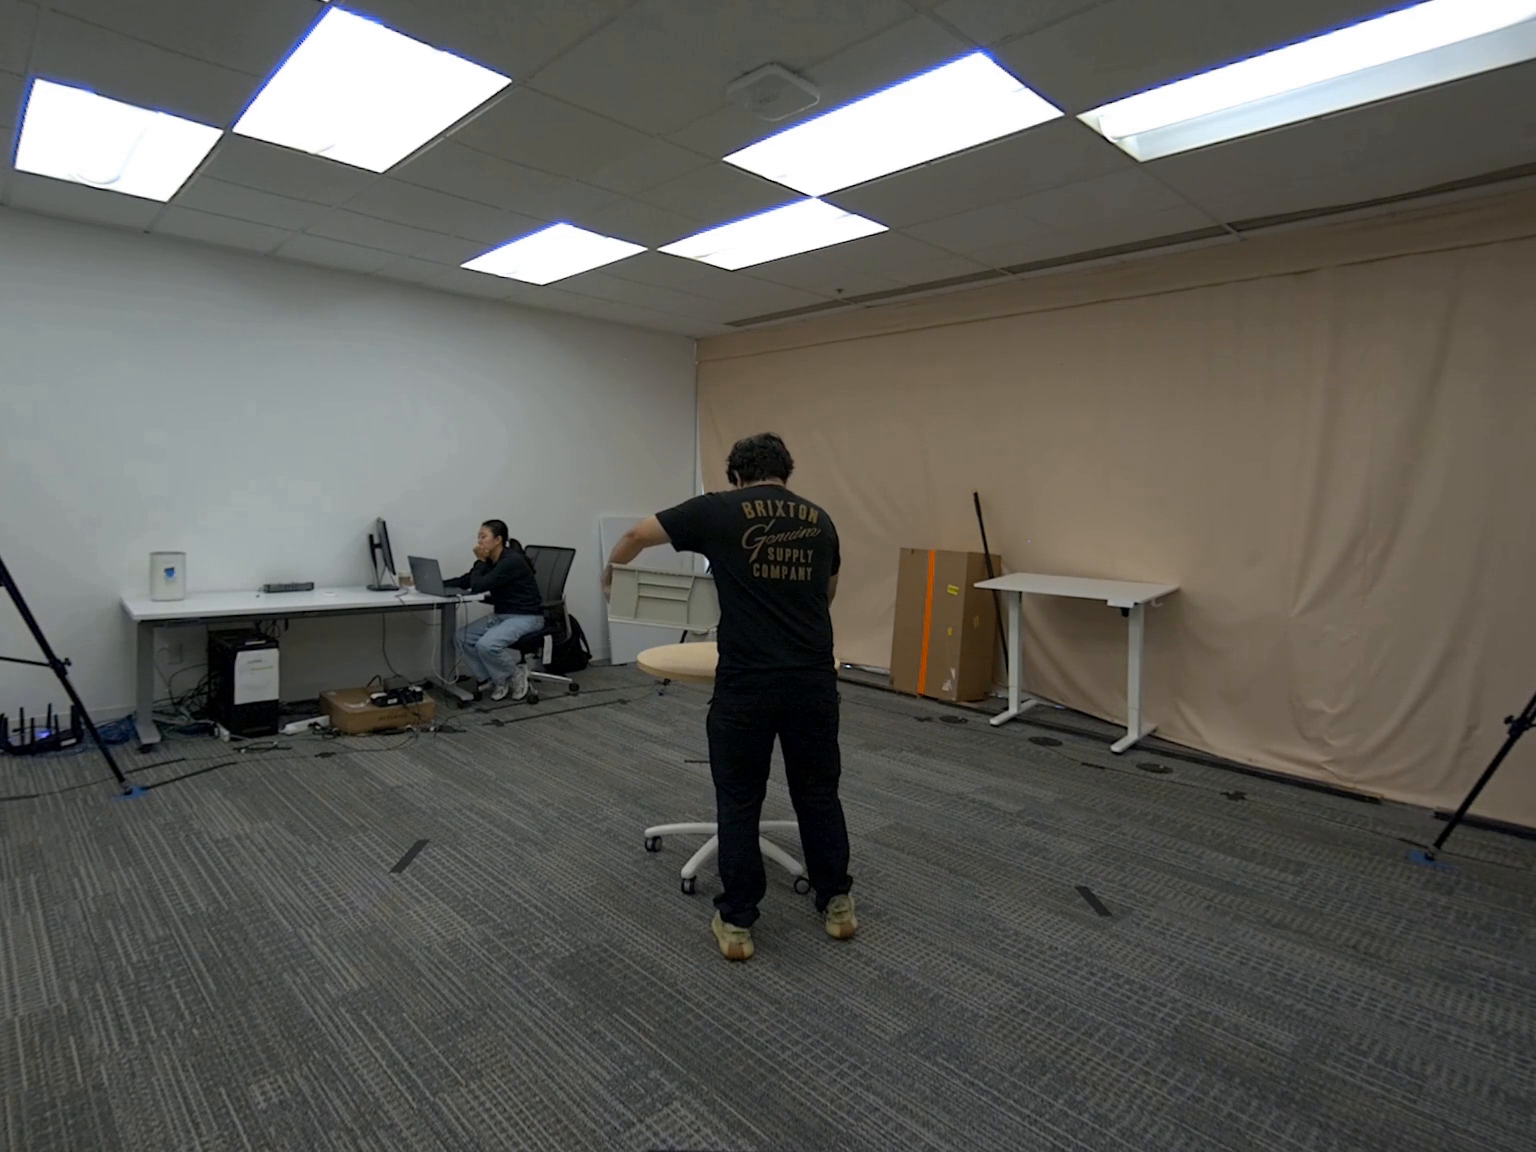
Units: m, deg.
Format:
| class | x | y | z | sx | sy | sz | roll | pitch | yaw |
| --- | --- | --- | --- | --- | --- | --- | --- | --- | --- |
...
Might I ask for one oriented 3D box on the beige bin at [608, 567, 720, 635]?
| class | x | y | z | sx | sy | sz | roll | pitch | yaw |
| --- | --- | --- | --- | --- | --- | --- | --- | --- | --- |
| beige bin | -0.292 | 0.086 | 2.781 | 0.379 | 0.189 | 0.420 | 7 | -2 | 3 |
